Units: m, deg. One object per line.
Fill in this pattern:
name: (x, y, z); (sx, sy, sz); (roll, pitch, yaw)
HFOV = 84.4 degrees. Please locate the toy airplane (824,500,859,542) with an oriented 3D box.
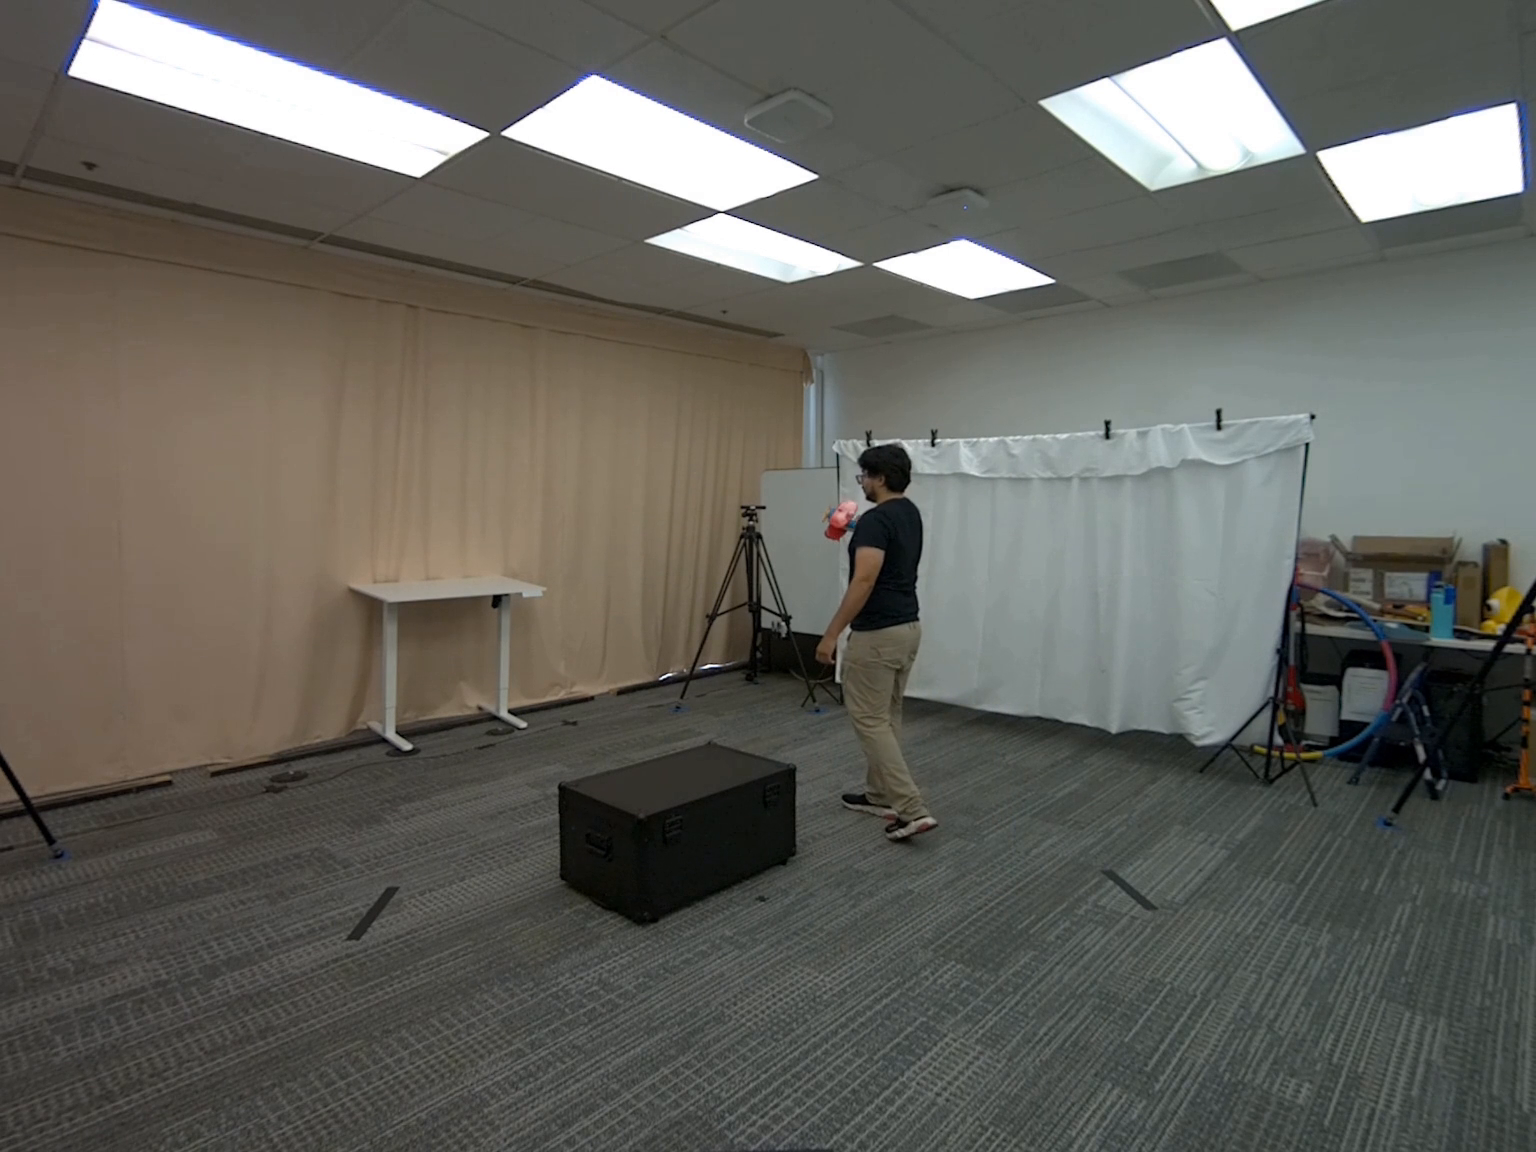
toy airplane: (0.431, -0.277, 4.395); (0.260, 0.153, 0.255); (-3, 36, 2)
